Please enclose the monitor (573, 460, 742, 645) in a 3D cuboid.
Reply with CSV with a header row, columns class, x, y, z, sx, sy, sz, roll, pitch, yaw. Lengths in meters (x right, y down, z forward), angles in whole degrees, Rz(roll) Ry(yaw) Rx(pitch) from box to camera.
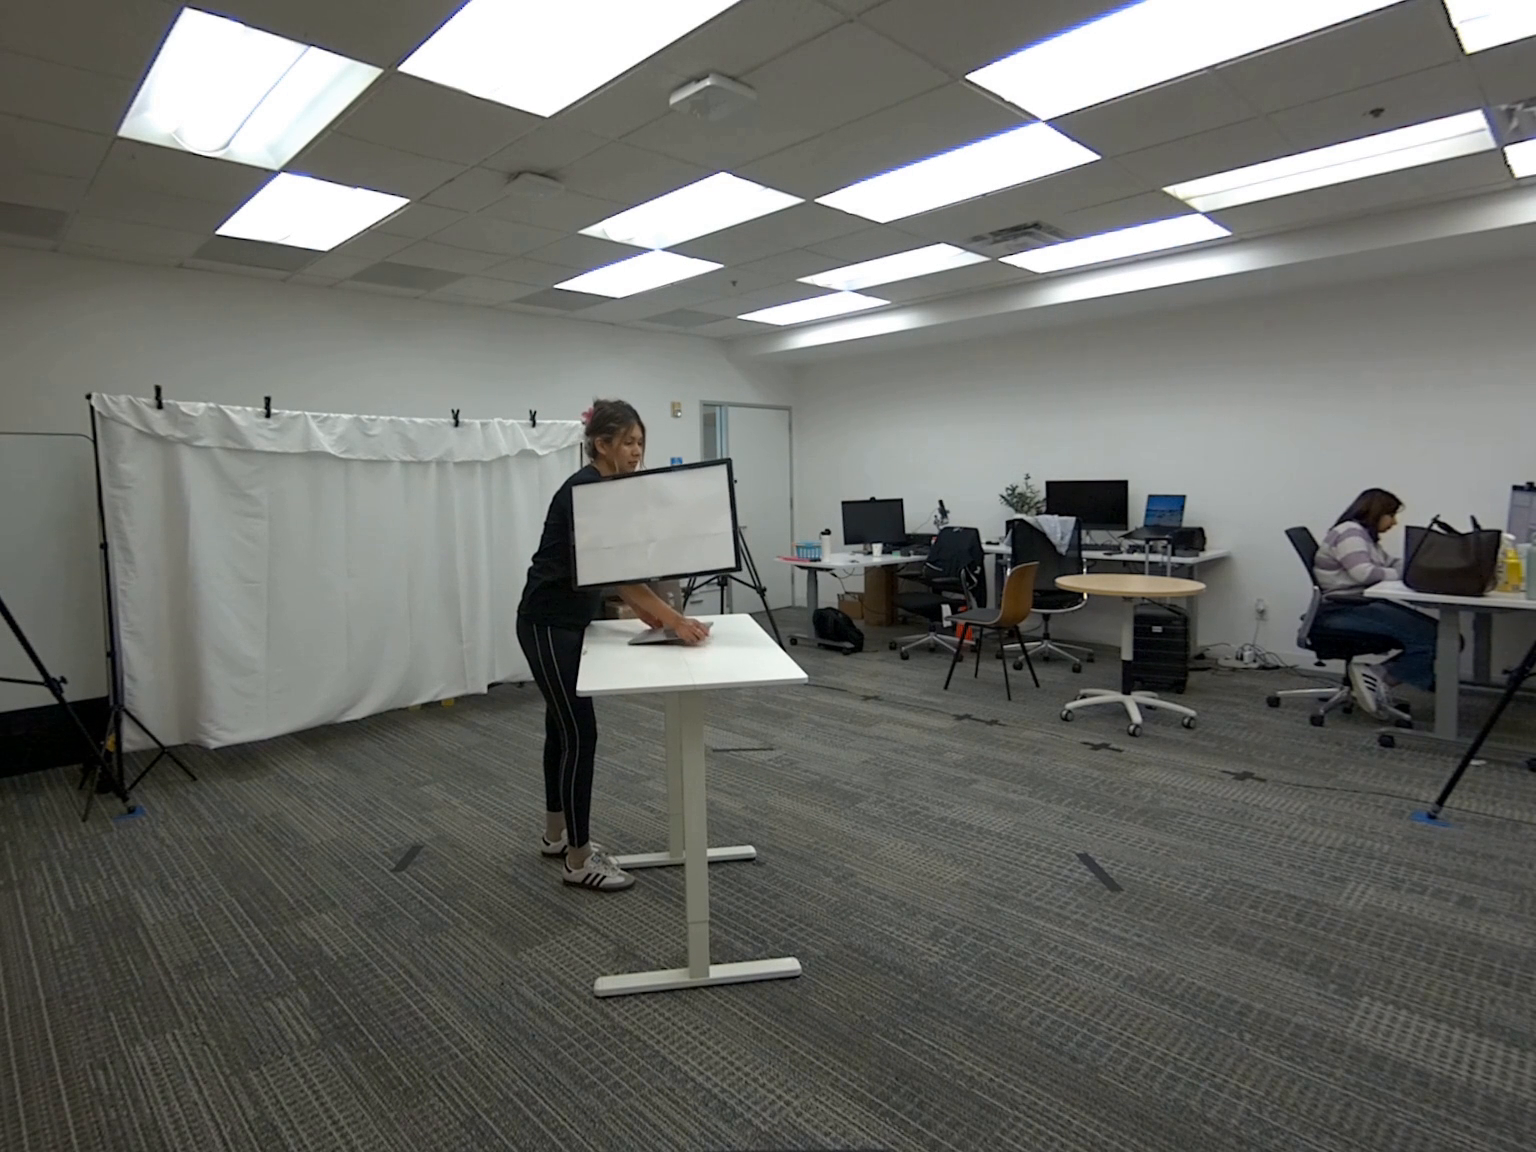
class,x,y,z,sx,sy,sz,roll,pitch,yaw
monitor,-0.344,-0.067,2.756,0.544,0.522,0.185,-8,1,12
